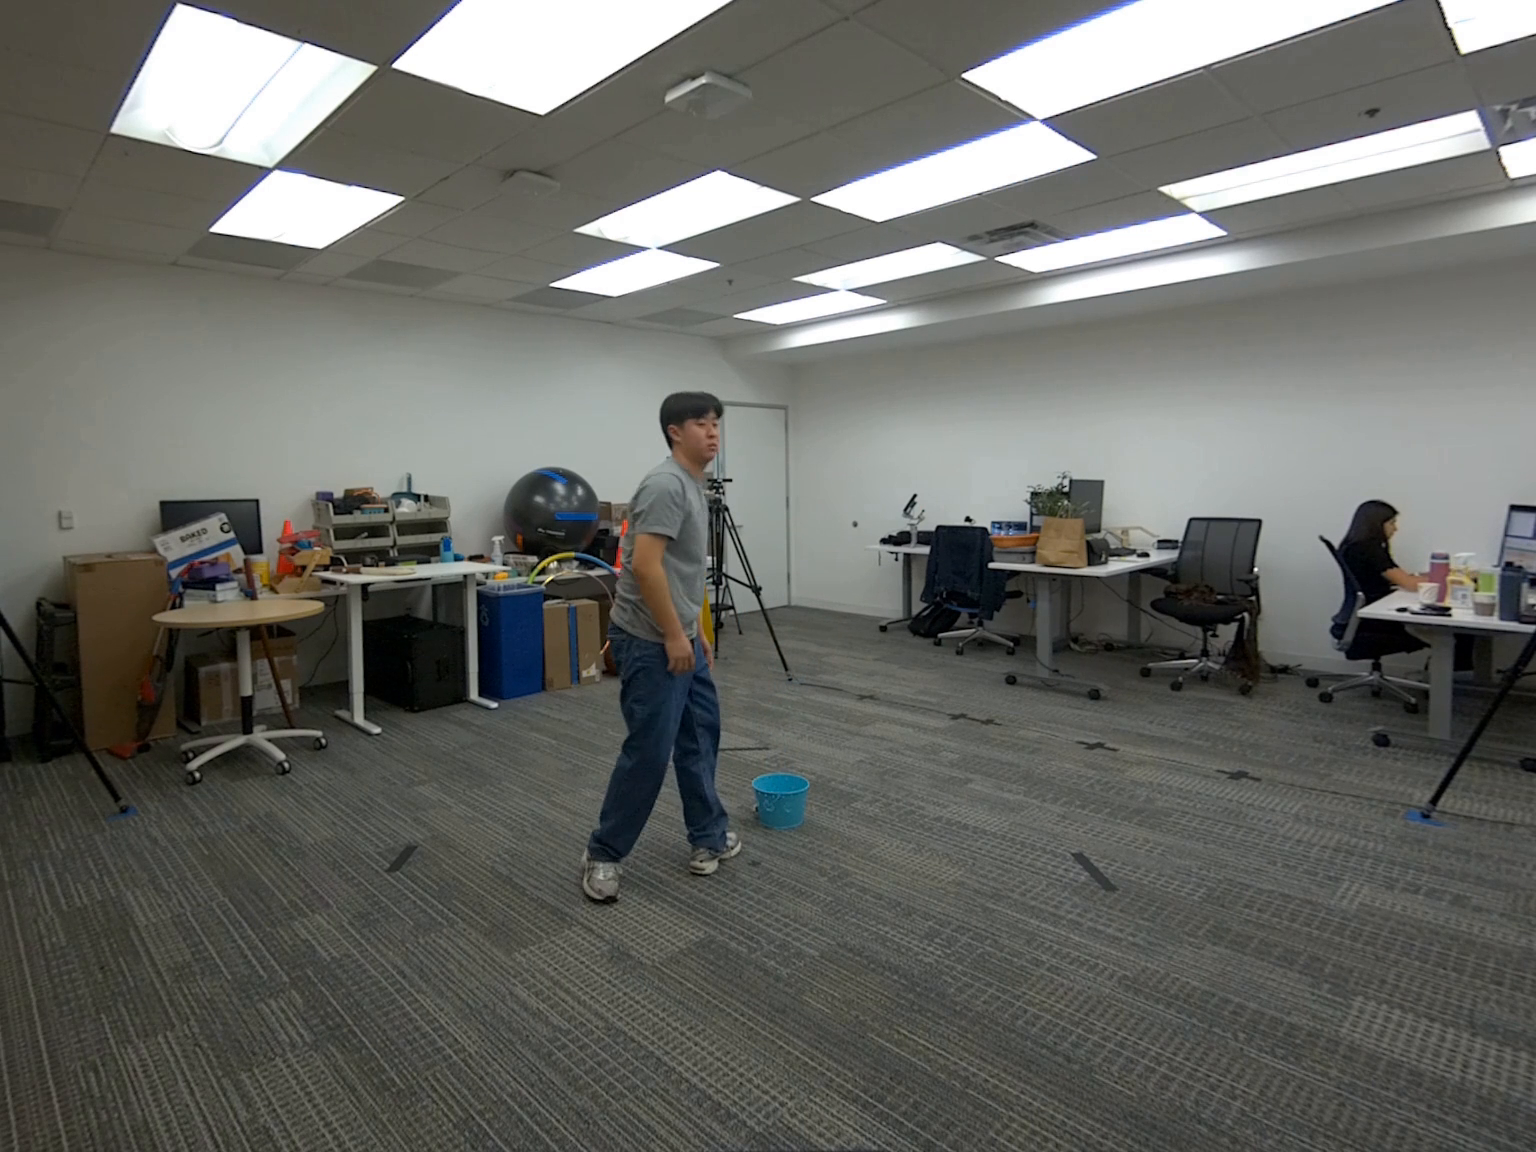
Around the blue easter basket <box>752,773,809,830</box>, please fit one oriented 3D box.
[{"bbox_3d":[0.053,0.921,3.503,0.243,0.155,0.245,-1,6,-2],"label":"blue easter basket"}]
